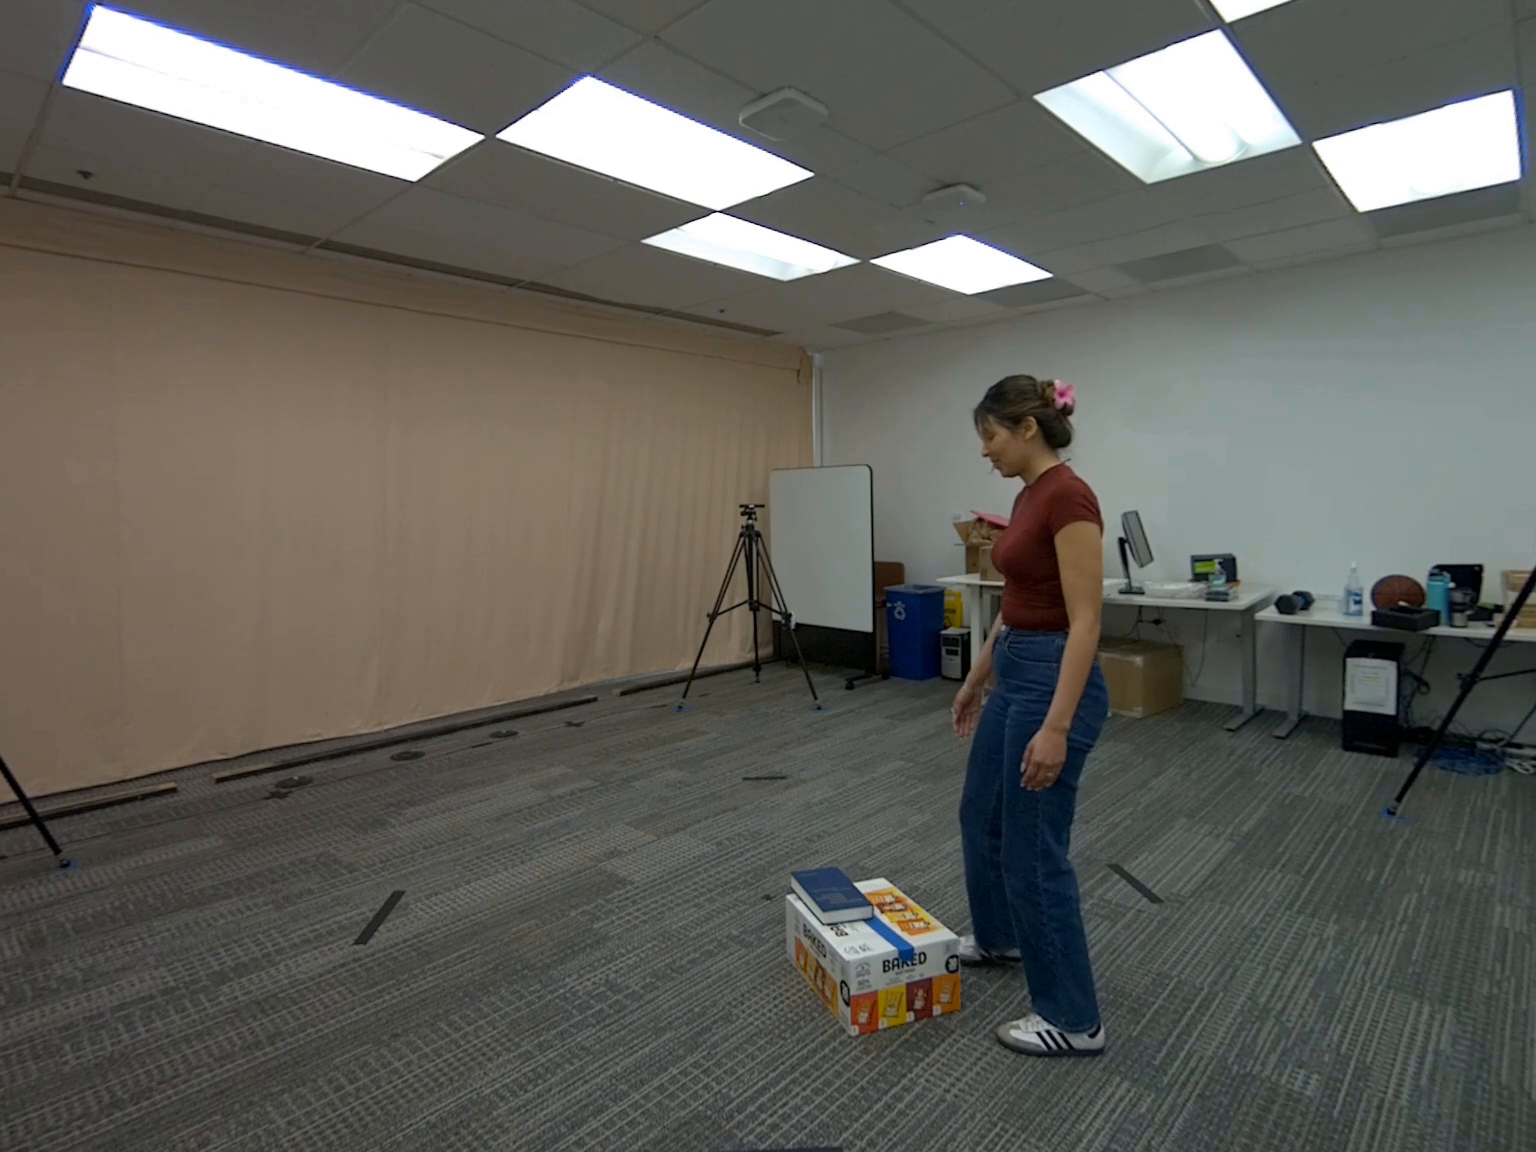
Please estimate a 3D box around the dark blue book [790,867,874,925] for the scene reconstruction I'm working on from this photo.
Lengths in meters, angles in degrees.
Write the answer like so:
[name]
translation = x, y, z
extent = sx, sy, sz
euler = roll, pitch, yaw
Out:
[dark blue book]
translation = 0.197, 0.958, 2.511
extent = 0.160, 0.045, 0.251
euler = -1, 7, -21
